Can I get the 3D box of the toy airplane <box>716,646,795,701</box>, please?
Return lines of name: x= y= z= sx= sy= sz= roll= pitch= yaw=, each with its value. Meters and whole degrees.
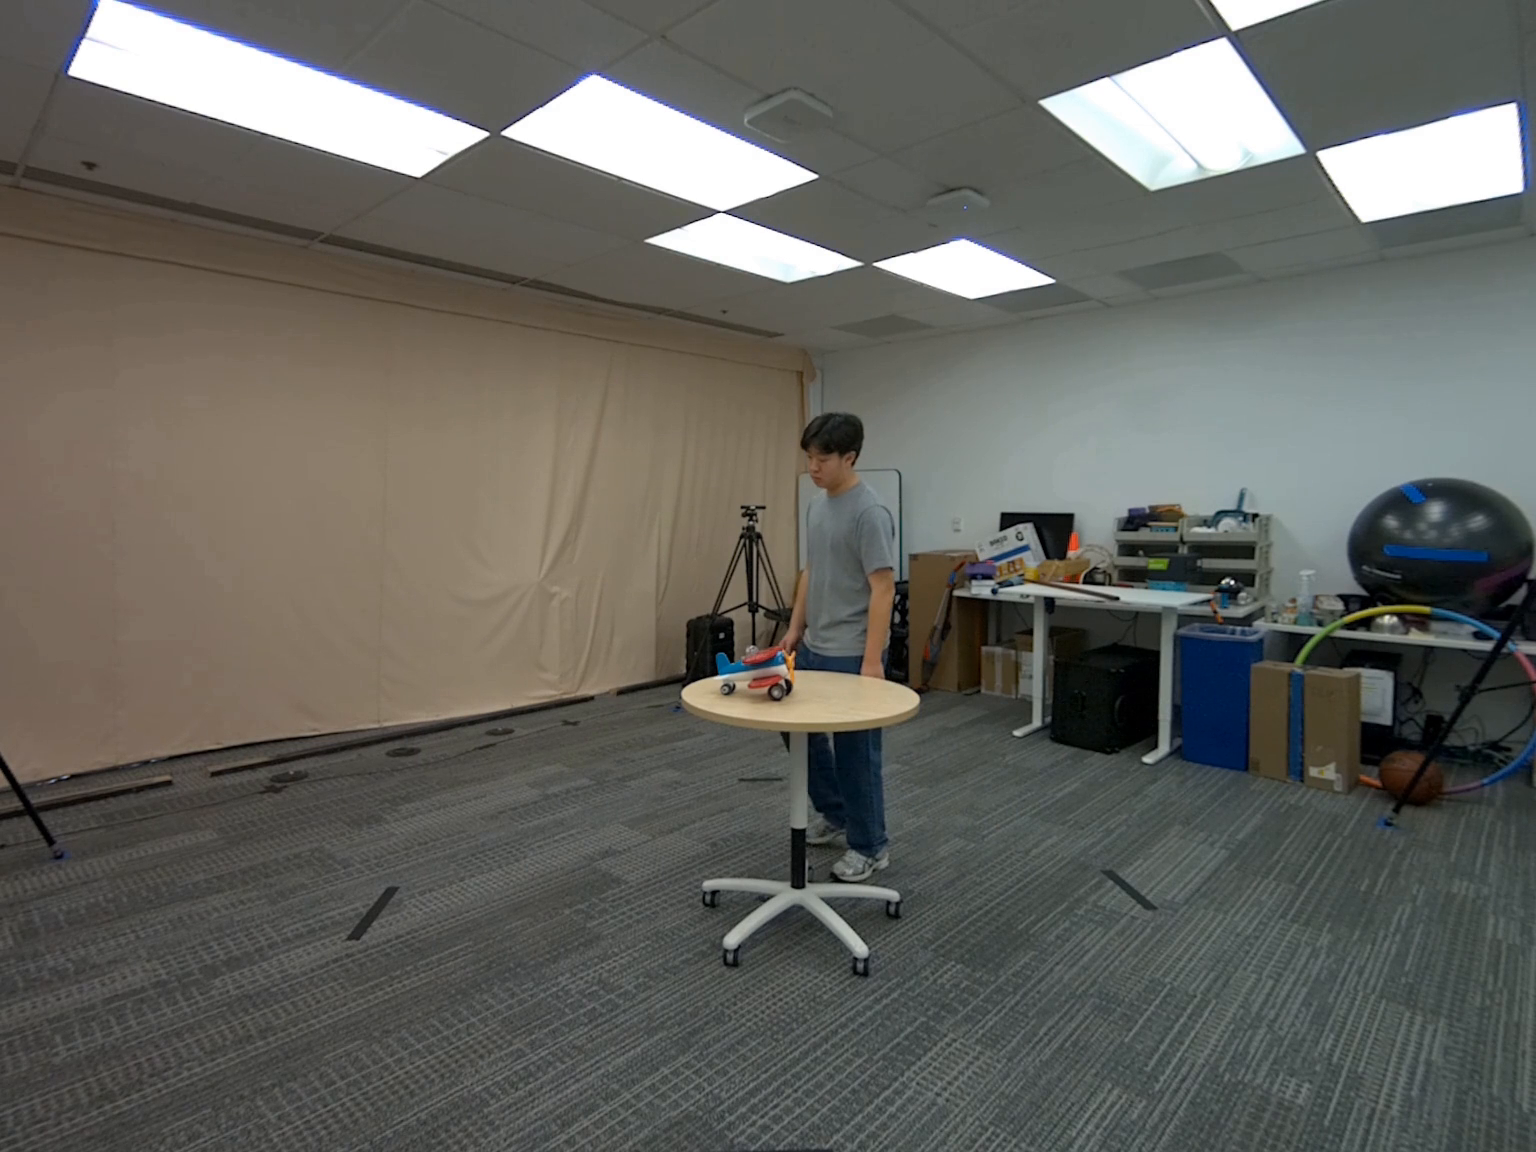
toy airplane: x=-0.036 y=0.310 z=2.671 sx=0.256 sy=0.156 sz=0.254 roll=0 pitch=3 yaw=-11
